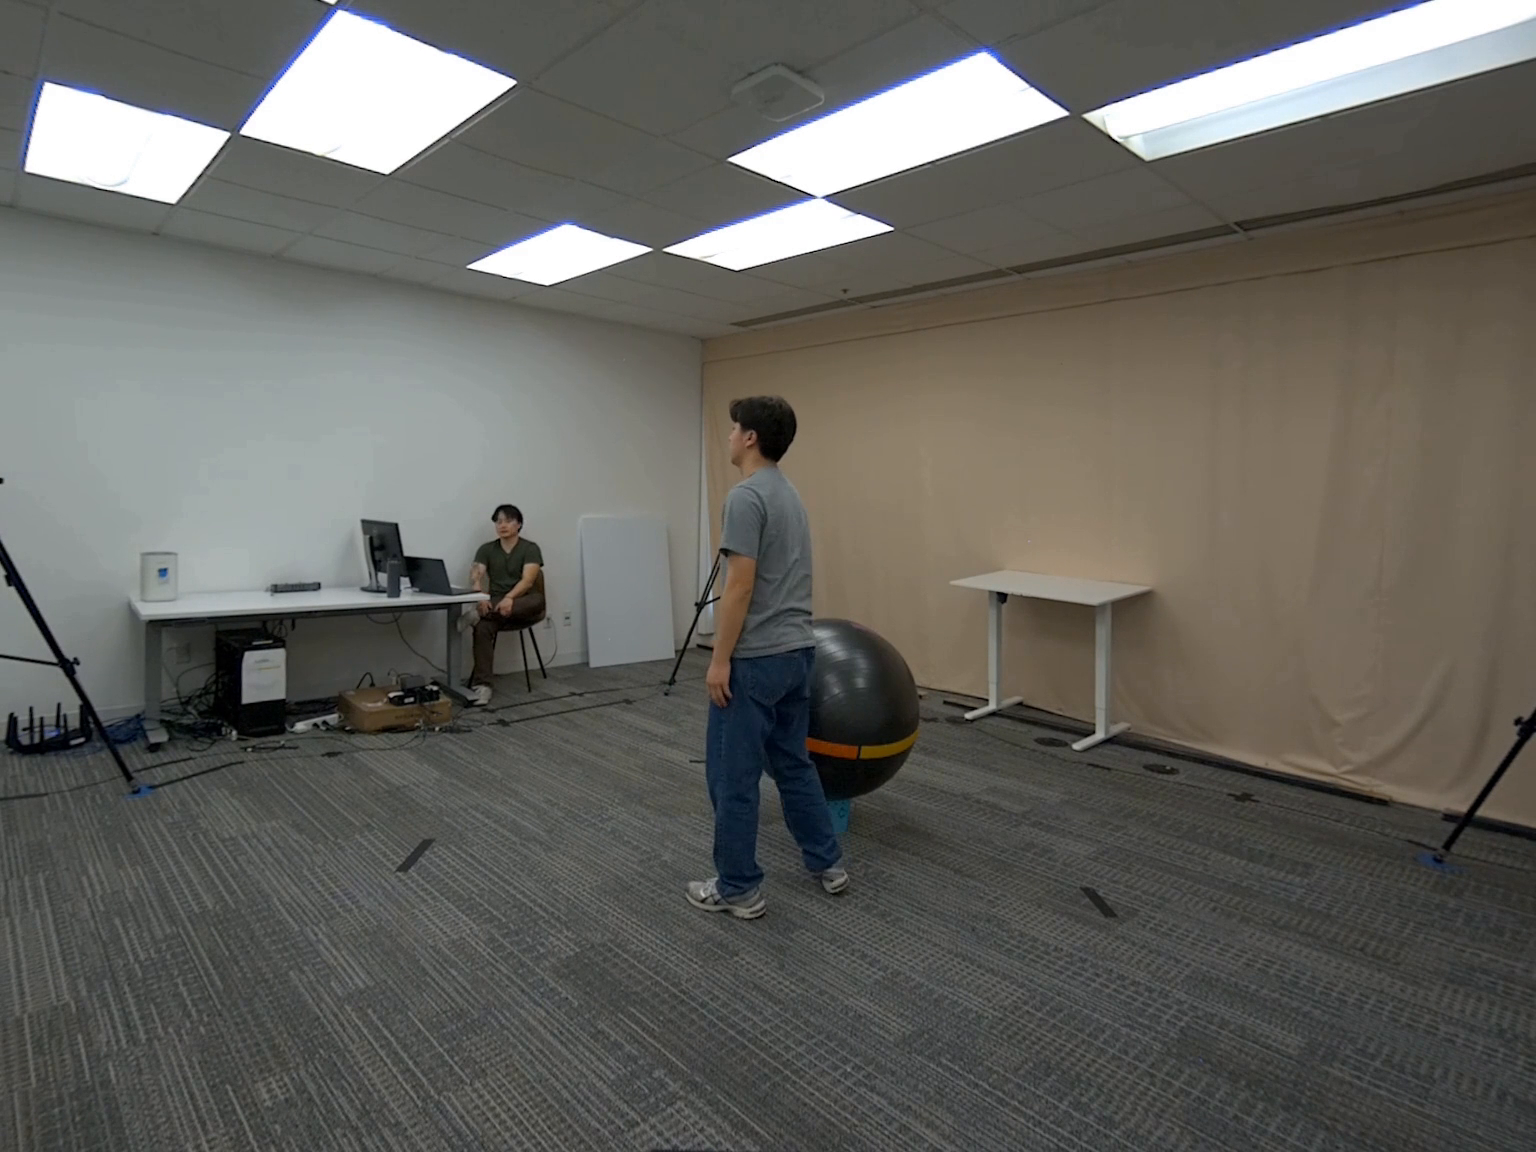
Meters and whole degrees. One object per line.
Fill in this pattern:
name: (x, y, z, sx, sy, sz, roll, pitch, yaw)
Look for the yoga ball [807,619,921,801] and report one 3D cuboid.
yoga ball: (0.258, 0.564, 3.580, 0.757, 0.756, 0.761, 1, 4, -1)
